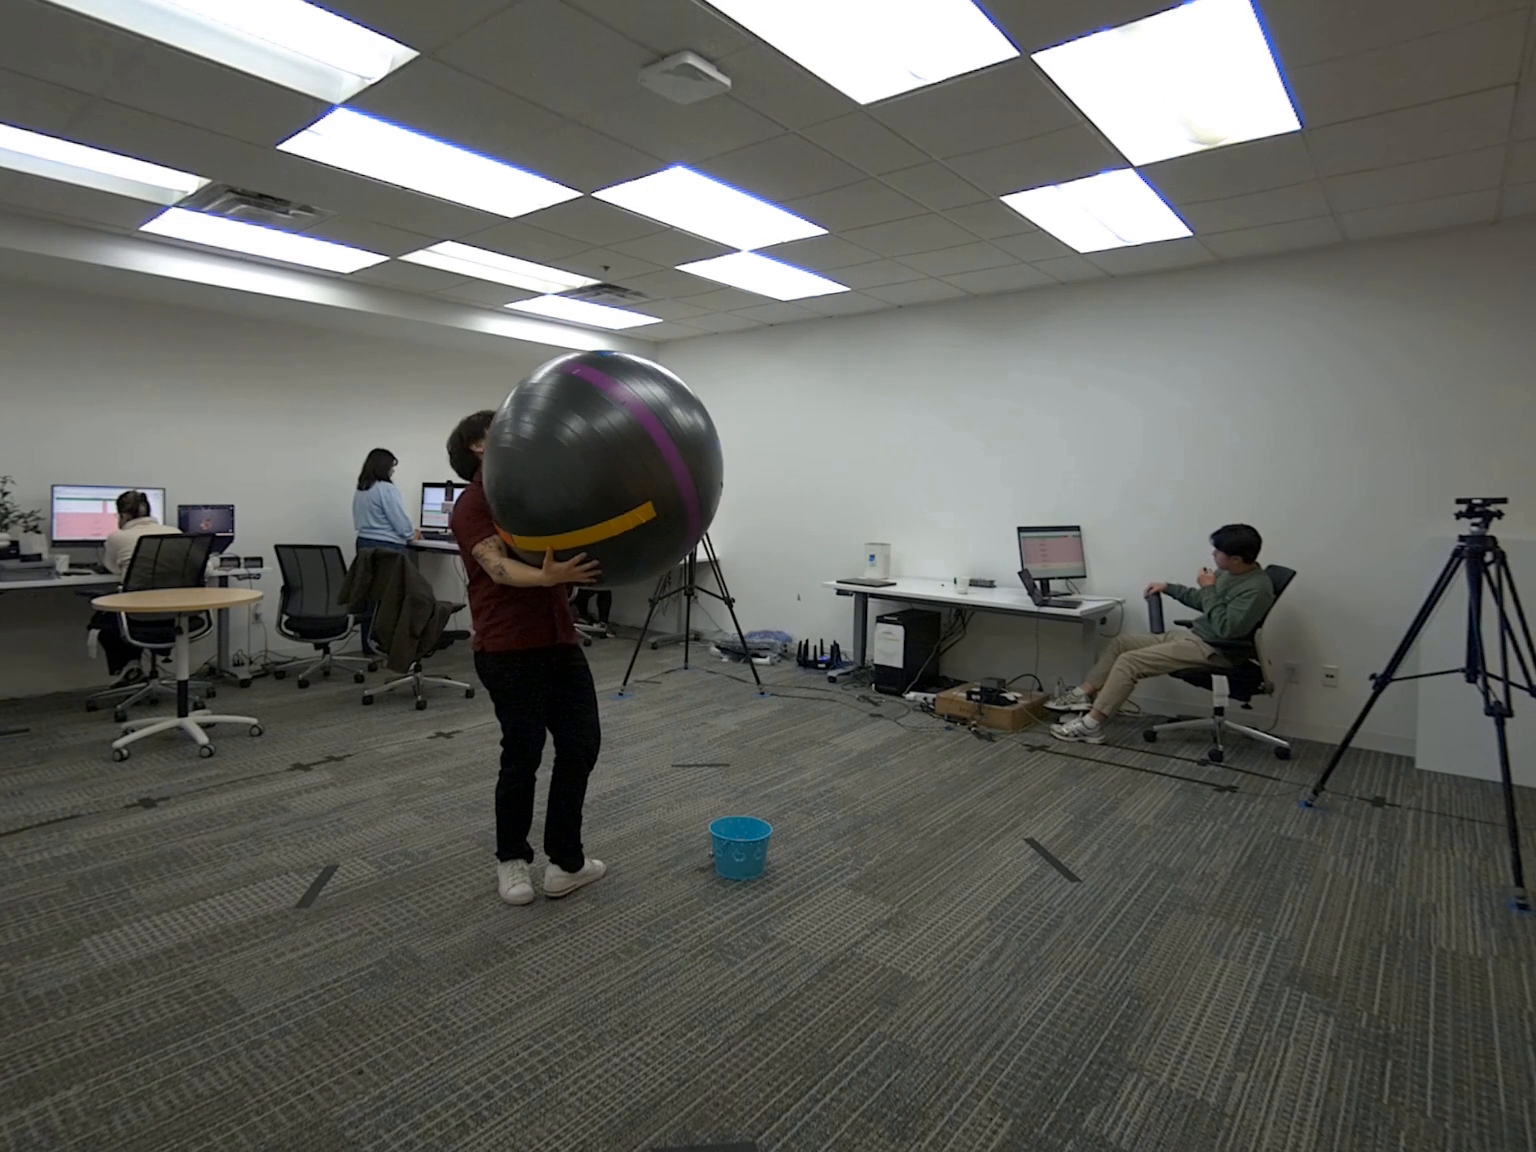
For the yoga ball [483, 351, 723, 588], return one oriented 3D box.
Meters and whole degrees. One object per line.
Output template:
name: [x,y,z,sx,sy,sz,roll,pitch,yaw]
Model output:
yoga ball: [-0.531,-0.331,2.709,0.757,0.756,0.762,1,4,-2]
